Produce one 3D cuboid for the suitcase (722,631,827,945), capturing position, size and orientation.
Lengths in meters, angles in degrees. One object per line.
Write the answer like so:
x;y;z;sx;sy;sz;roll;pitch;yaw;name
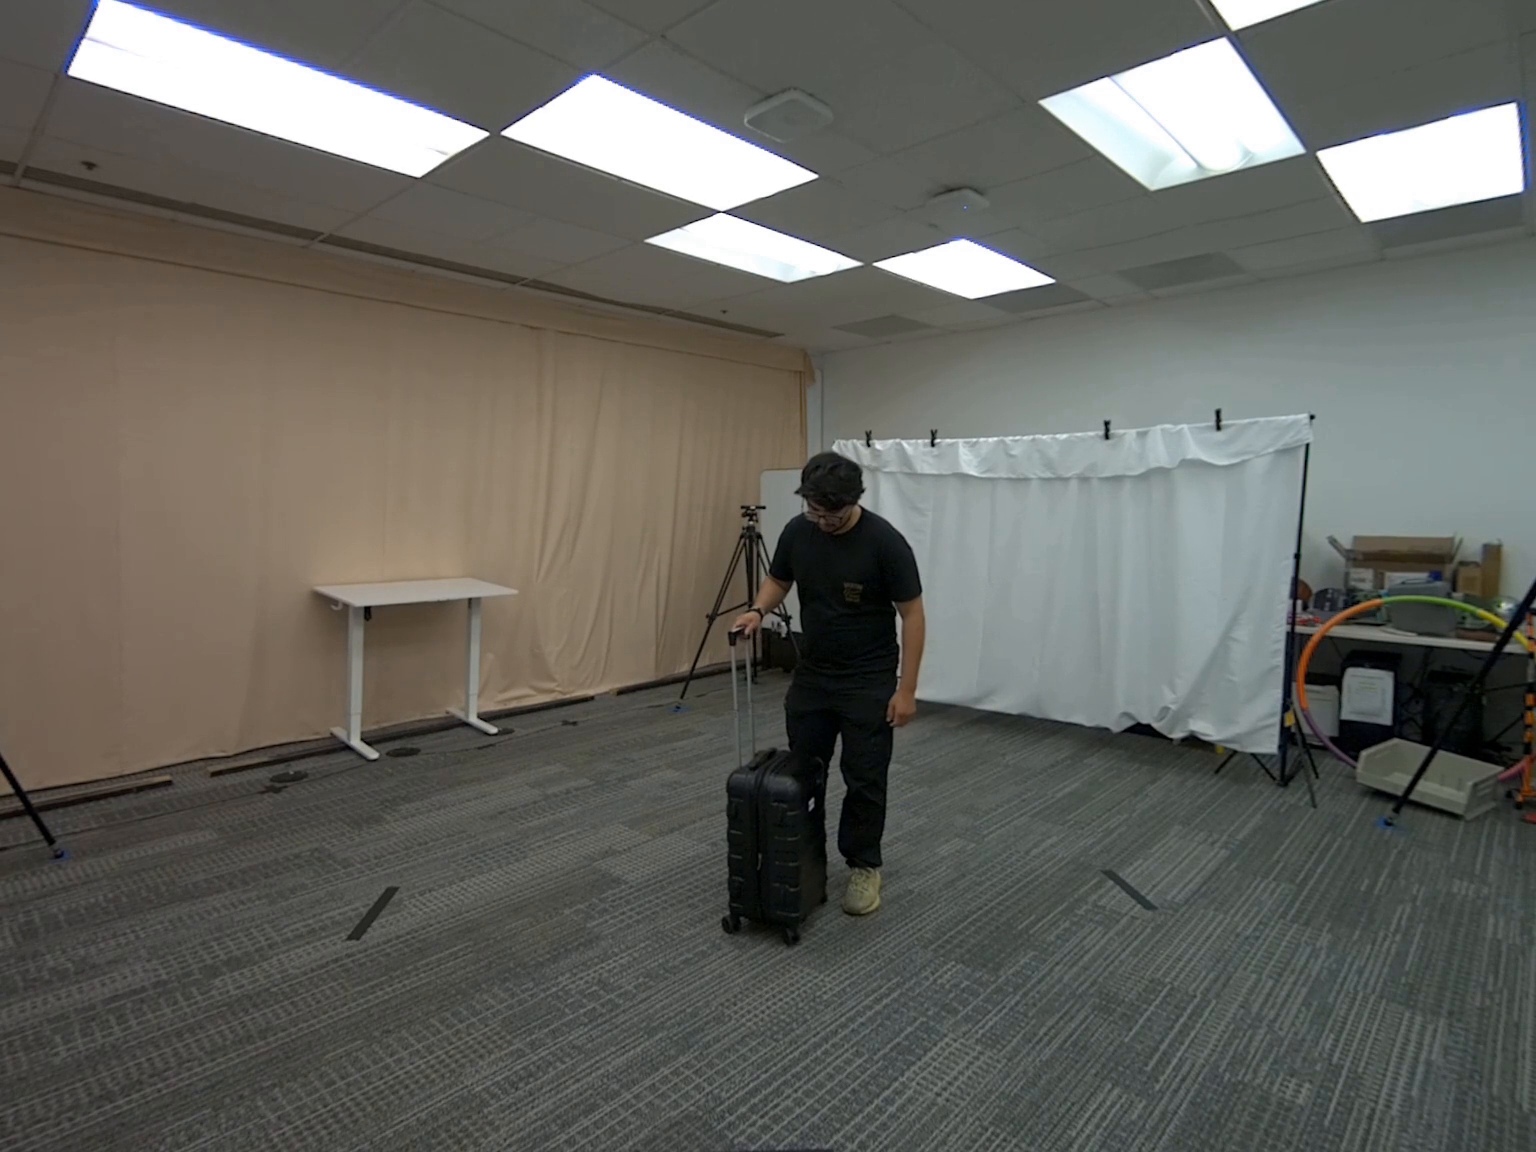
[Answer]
0.026;0.679;2.809;0.262;0.976;0.377;1;3;19;suitcase
